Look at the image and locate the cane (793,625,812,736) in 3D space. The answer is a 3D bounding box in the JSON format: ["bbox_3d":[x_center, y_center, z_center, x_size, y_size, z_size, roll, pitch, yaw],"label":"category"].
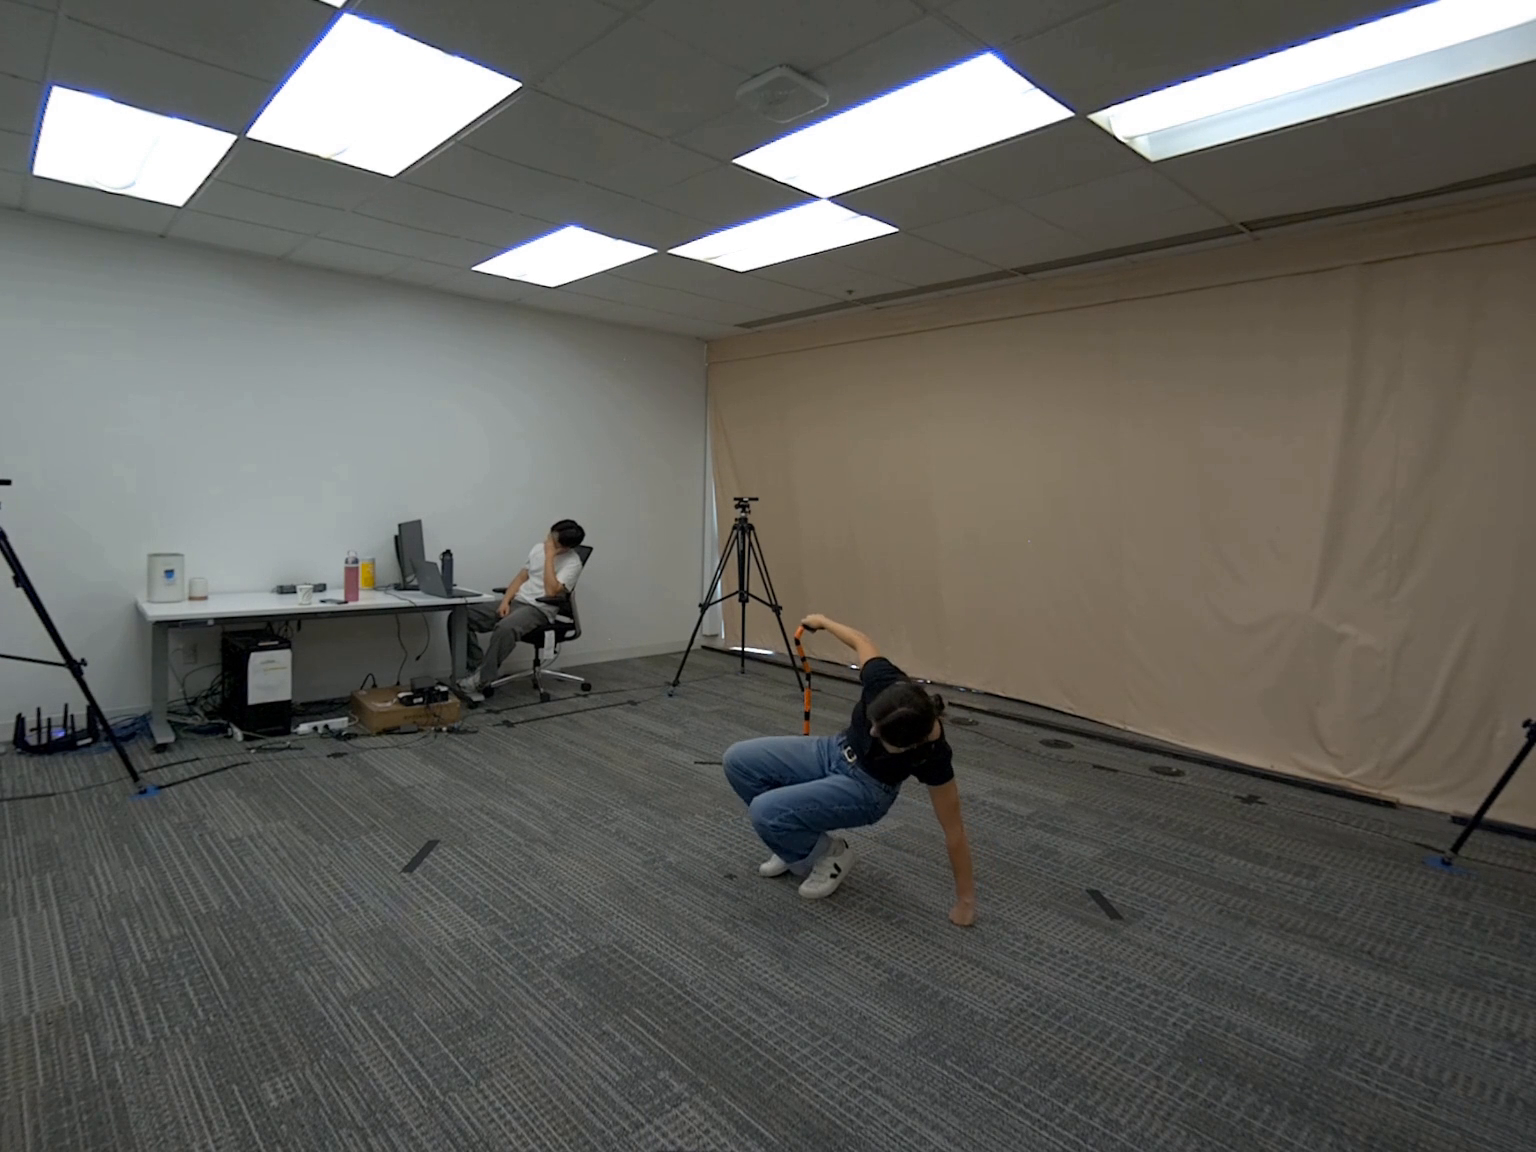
[{"bbox_3d":[0.133,0.644,3.387,0.202,0.906,0.155,-1,3,-31],"label":"cane"}]
